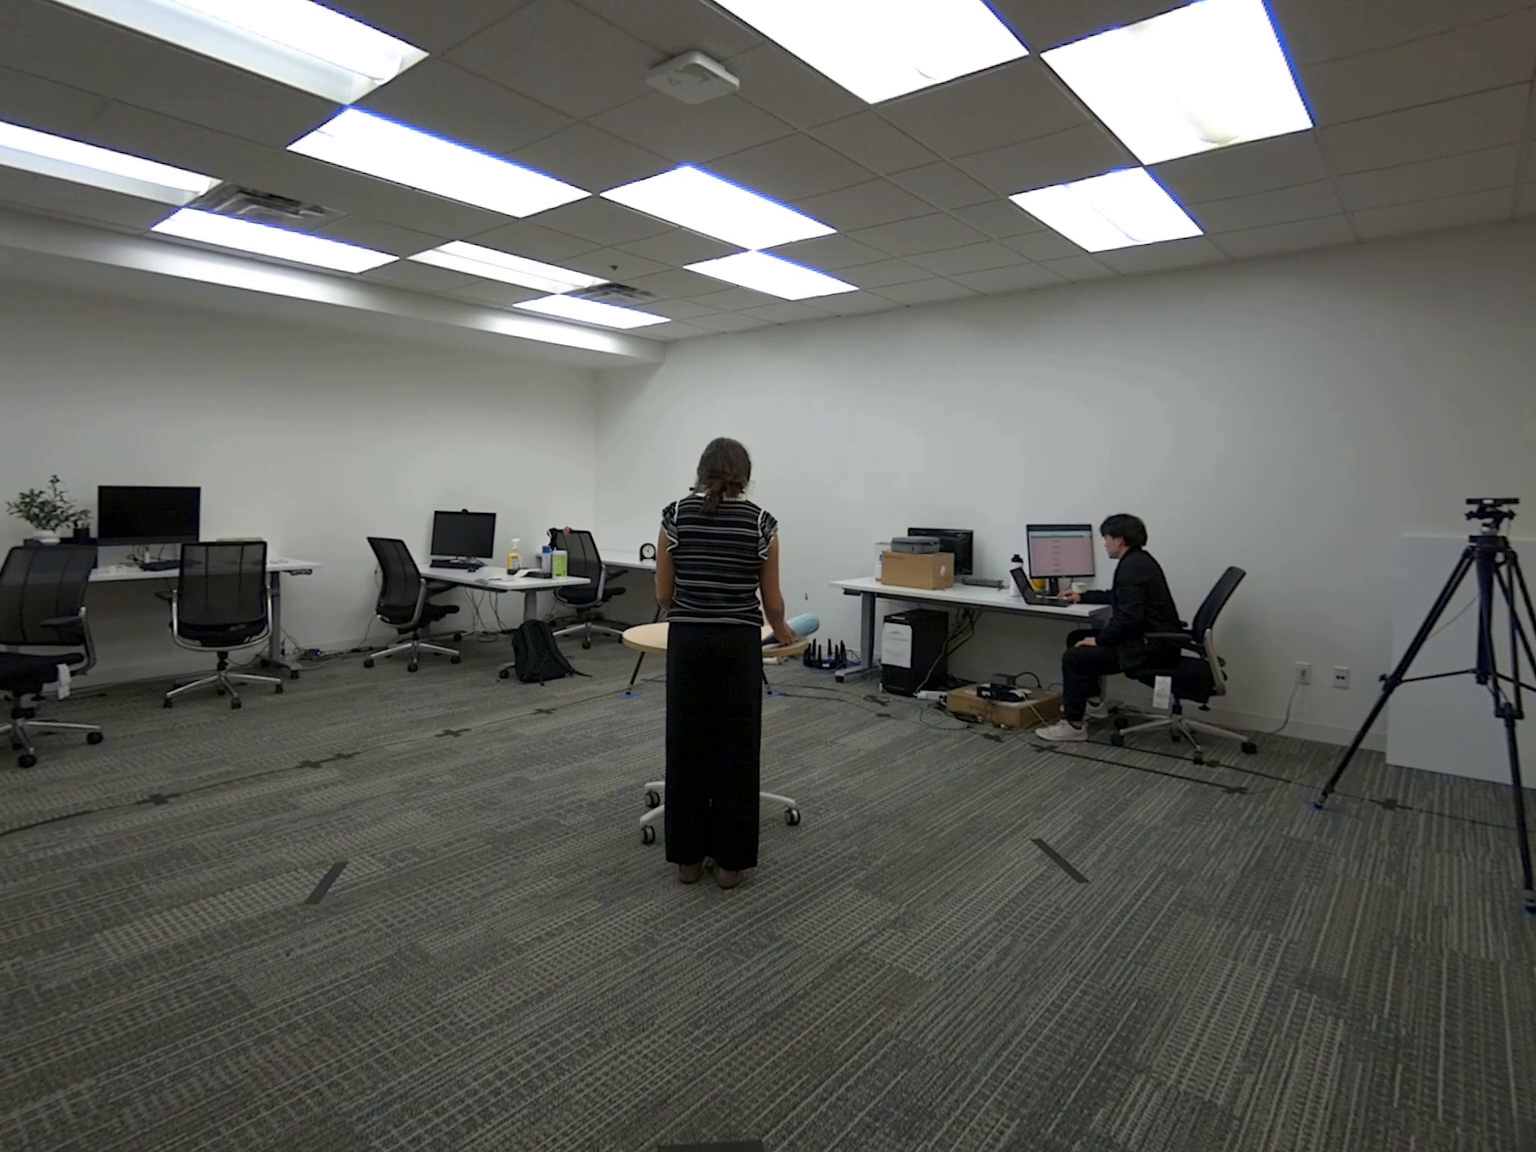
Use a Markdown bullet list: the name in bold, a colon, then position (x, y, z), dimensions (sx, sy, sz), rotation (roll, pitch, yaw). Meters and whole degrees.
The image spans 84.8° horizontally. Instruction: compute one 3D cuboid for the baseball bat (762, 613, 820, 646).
- **baseball bat**: position (0.042, 0.237, 3.341), dimensions (0.091, 0.088, 0.532), rotation (3, 12, 29)
